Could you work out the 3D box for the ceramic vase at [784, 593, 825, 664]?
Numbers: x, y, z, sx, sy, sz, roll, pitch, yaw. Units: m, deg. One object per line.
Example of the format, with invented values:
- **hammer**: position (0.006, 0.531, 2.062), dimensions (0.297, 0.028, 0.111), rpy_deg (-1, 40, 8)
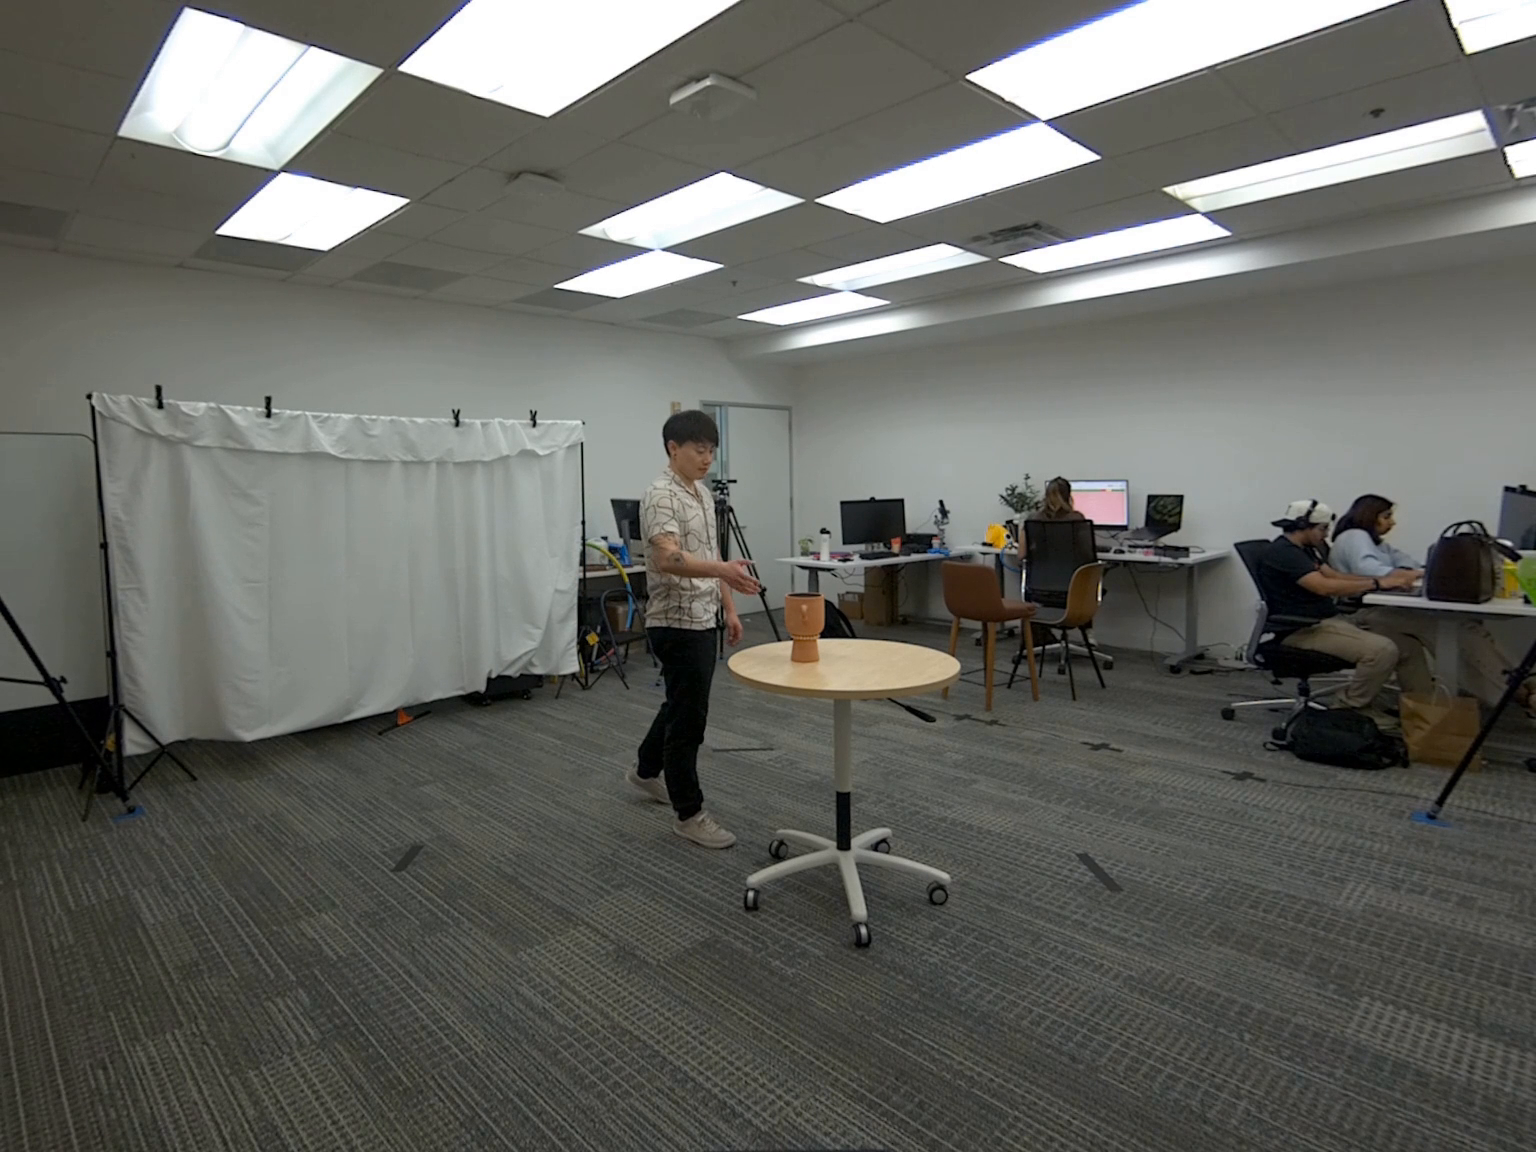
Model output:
- **ceramic vase**: position (0.126, 0.175, 2.887), dimensions (0.139, 0.219, 0.155), rpy_deg (3, 7, 44)
